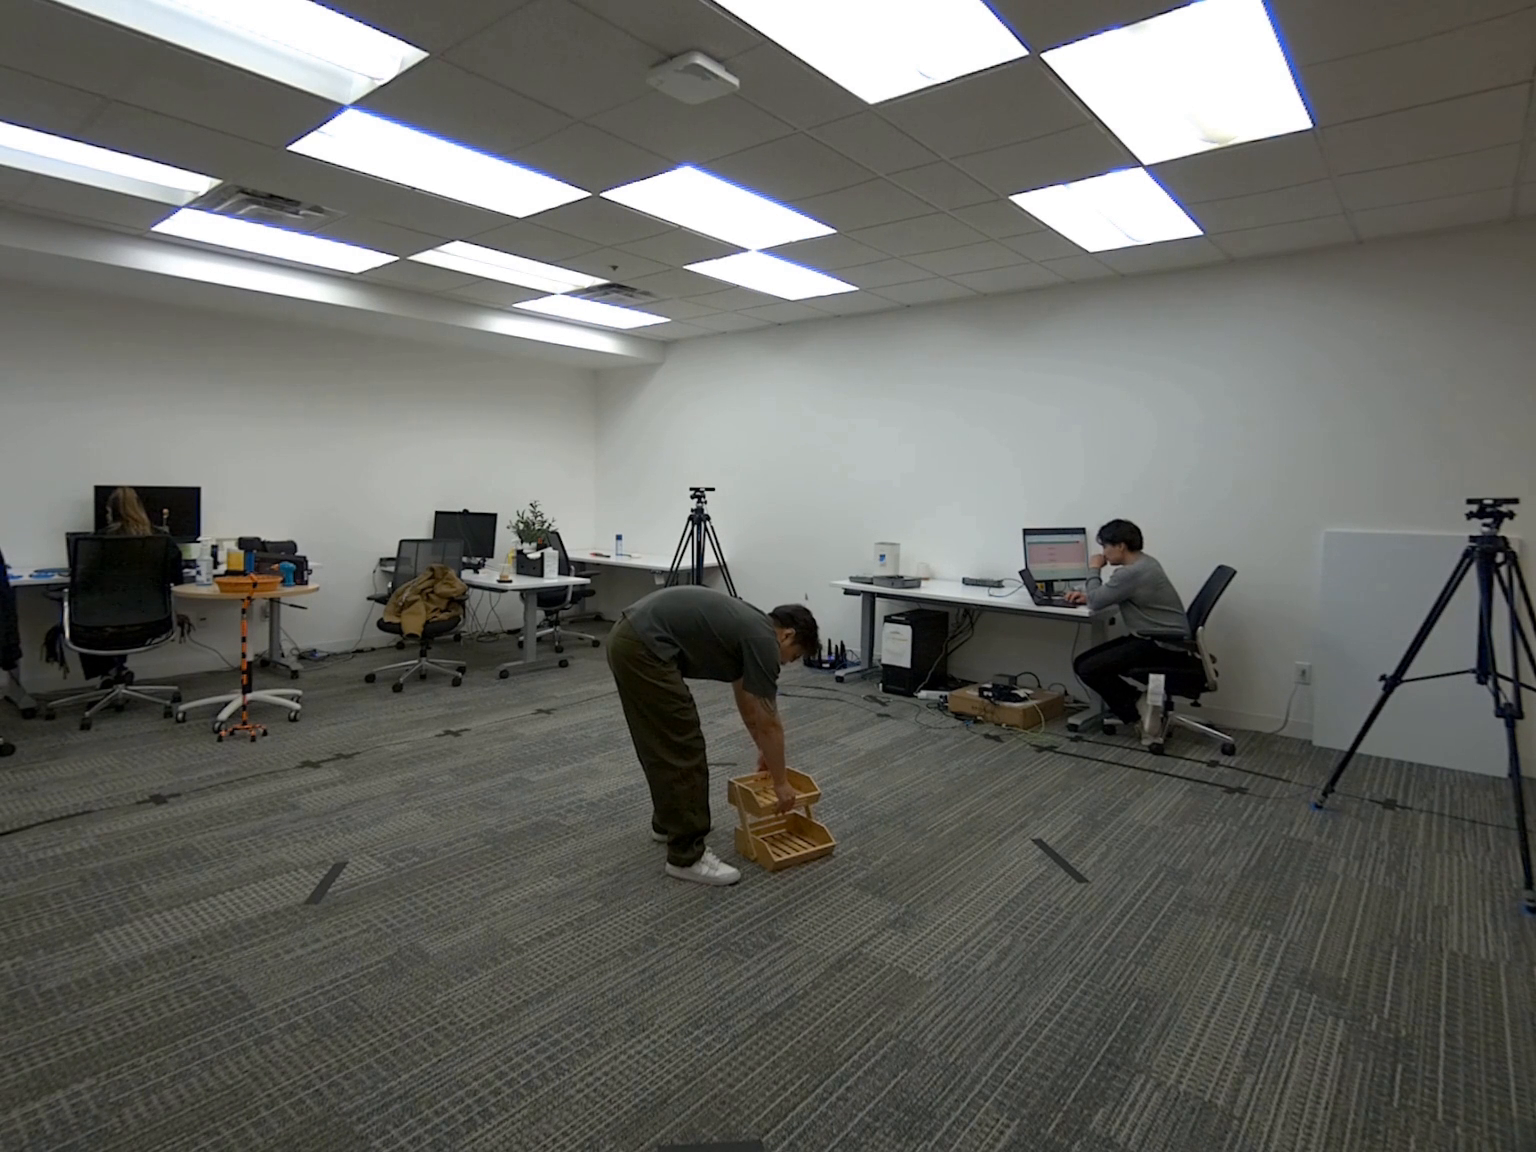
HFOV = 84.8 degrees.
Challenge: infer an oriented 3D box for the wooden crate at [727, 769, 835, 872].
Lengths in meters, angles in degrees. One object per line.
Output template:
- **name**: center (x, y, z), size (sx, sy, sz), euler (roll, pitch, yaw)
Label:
- **wooden crate**: center (0.046, 0.919, 3.279), size (0.315, 0.272, 0.312), euler (-2, 5, -38)
